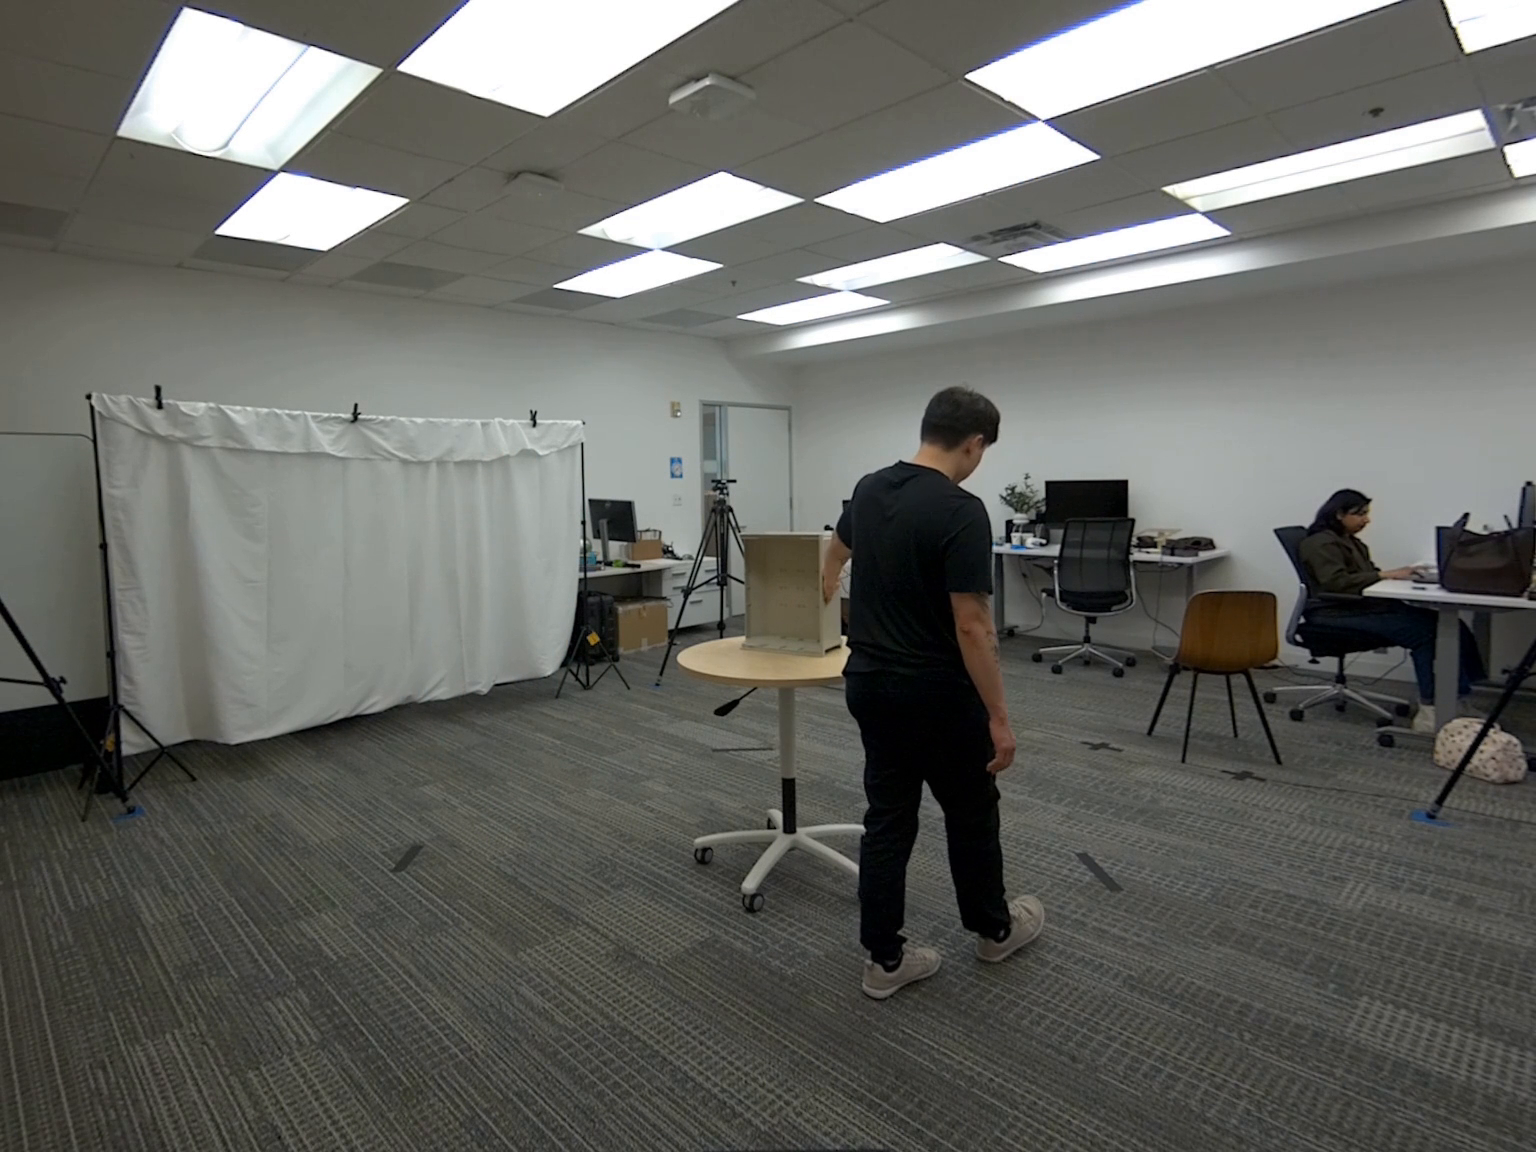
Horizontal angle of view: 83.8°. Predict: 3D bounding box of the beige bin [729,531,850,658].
[{"bbox_3d":[0.076,0.054,3.093,0.387,0.421,0.184,1,3,32],"label":"beige bin"}]
